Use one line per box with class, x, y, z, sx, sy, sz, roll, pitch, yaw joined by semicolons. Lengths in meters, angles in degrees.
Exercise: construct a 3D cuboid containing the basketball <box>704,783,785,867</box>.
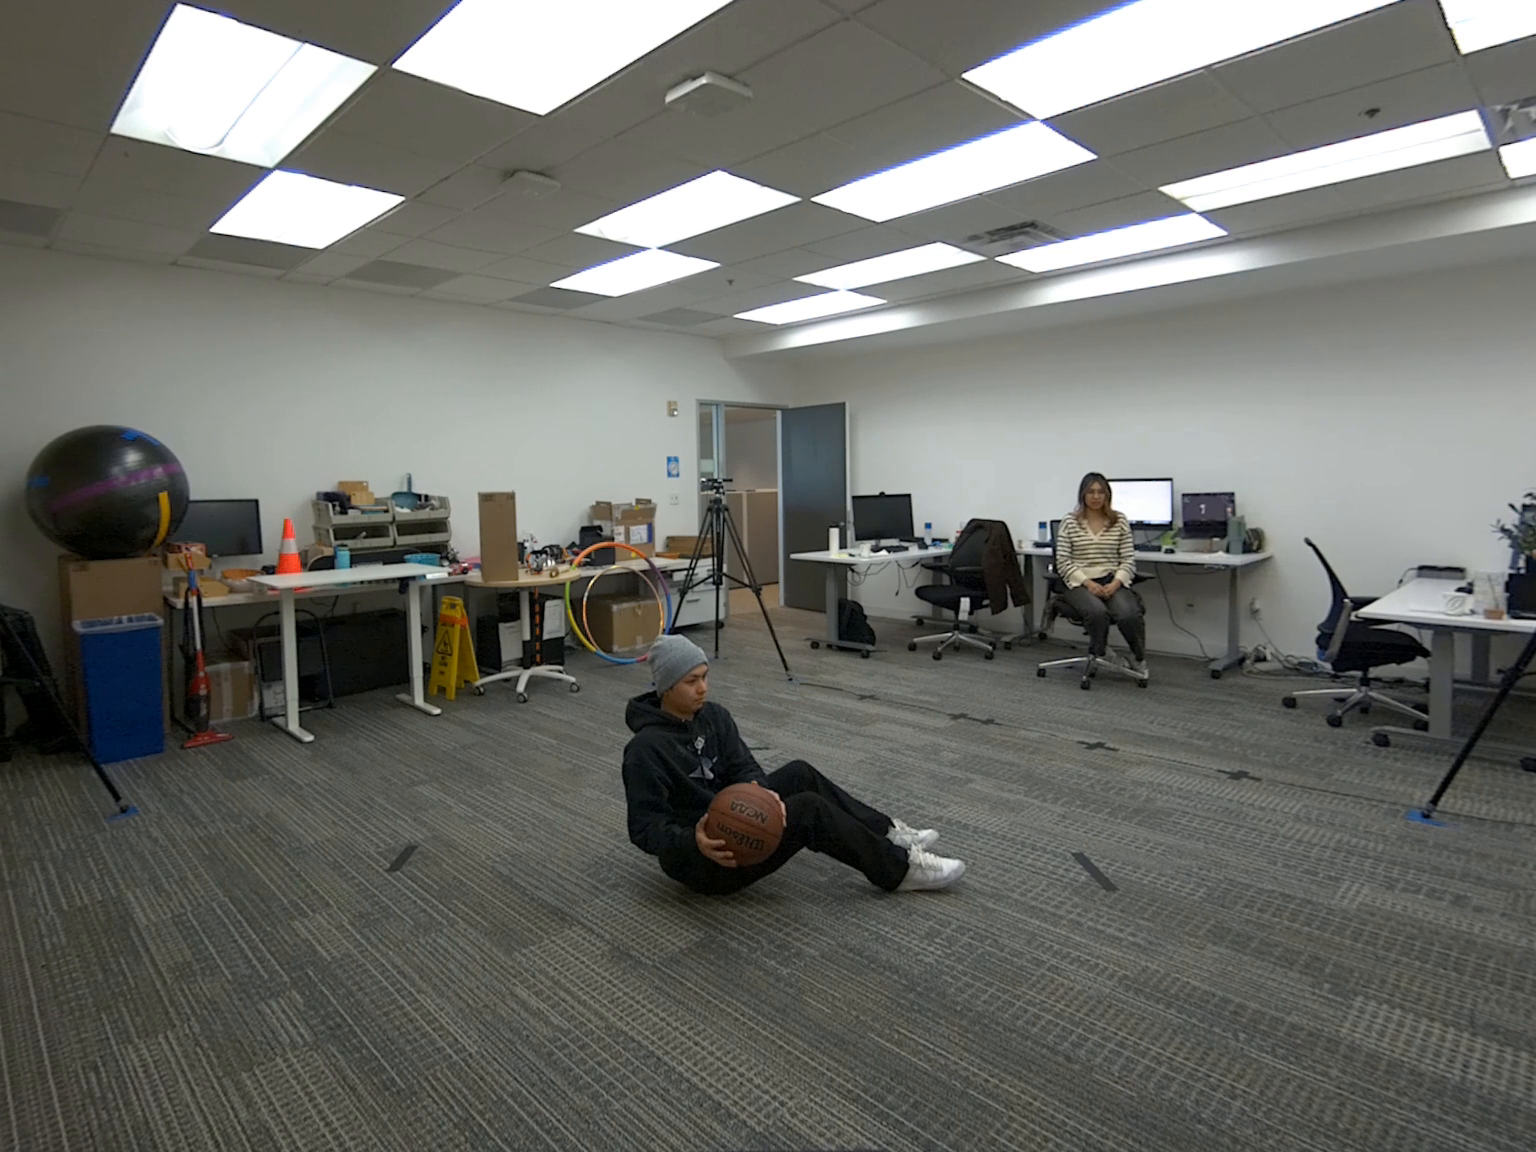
basketball;-0.070;0.754;2.613;0.236;0.235;0.237;-1;5;-2
